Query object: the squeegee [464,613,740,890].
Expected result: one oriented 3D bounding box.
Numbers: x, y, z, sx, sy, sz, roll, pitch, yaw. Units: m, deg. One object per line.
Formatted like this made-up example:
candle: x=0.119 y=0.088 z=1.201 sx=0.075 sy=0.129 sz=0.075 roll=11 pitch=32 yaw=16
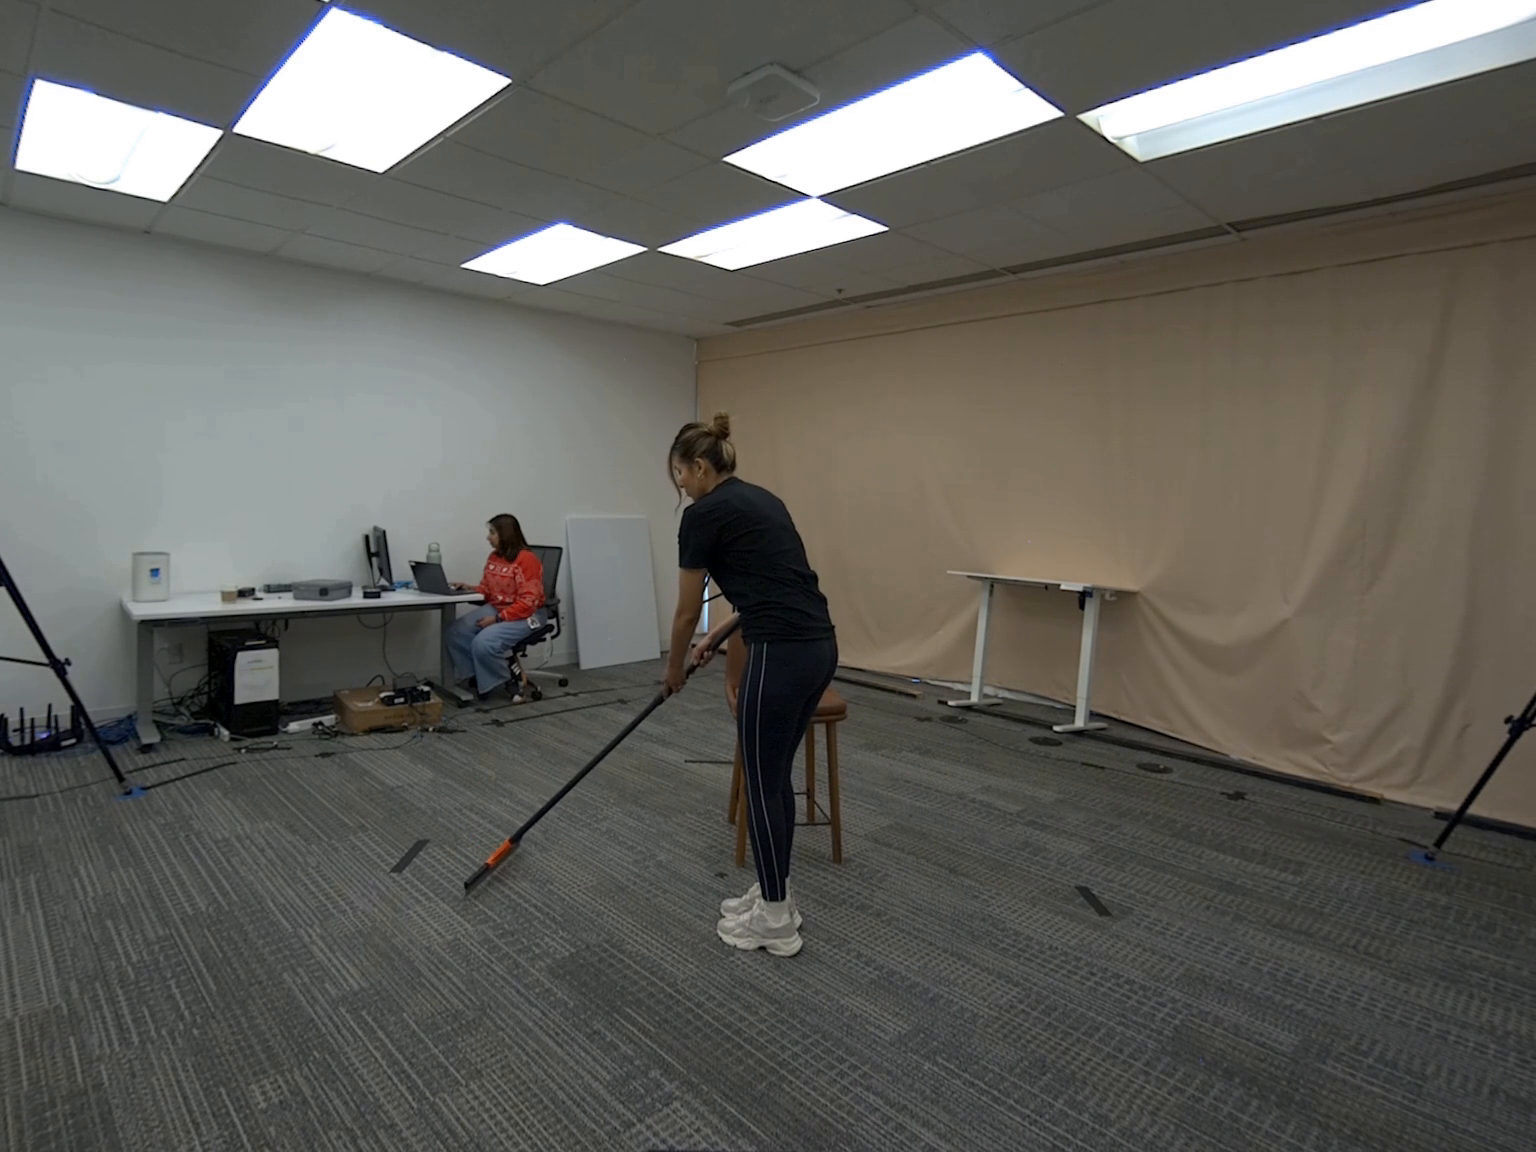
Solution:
squeegee: x=-0.489 y=0.532 z=2.927 sx=0.053 sy=1.538 sz=0.435 roll=46 pitch=10 yaw=2
